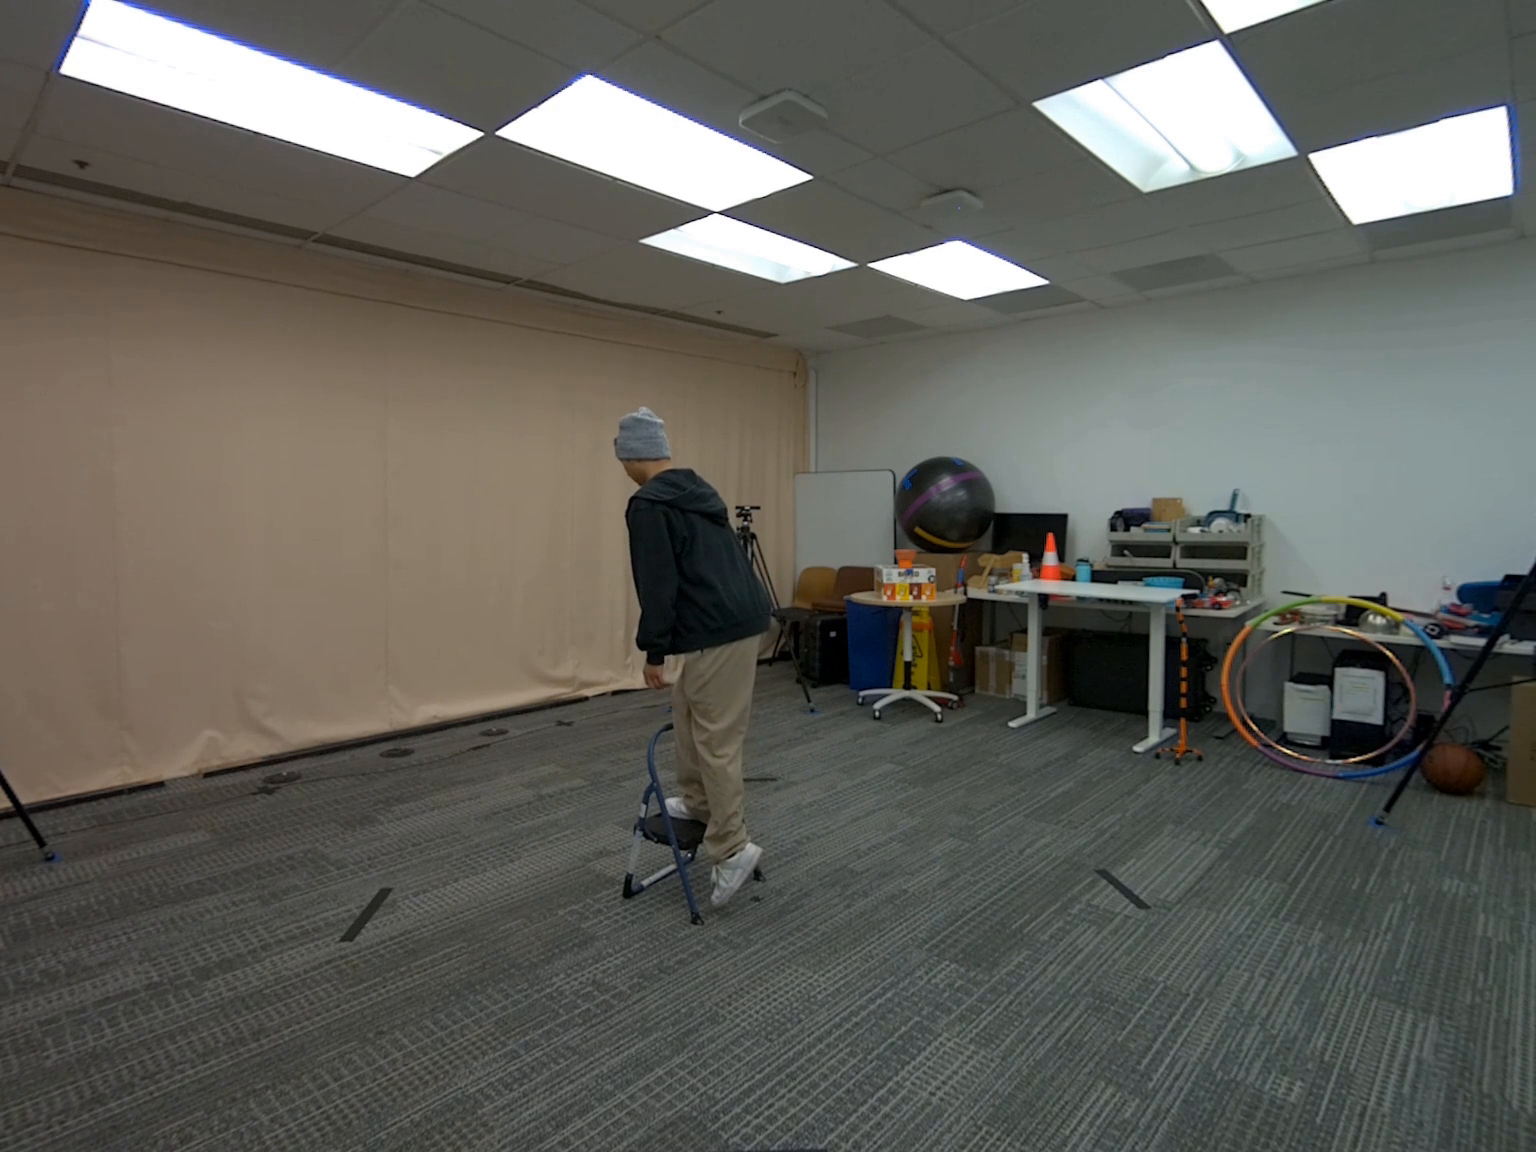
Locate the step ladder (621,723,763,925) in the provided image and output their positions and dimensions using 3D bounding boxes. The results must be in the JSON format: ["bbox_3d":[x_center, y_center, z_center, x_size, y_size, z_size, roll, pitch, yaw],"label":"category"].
[{"bbox_3d":[-0.271,0.840,3.056,0.360,0.605,0.419,1,4,32],"label":"step ladder"}]
